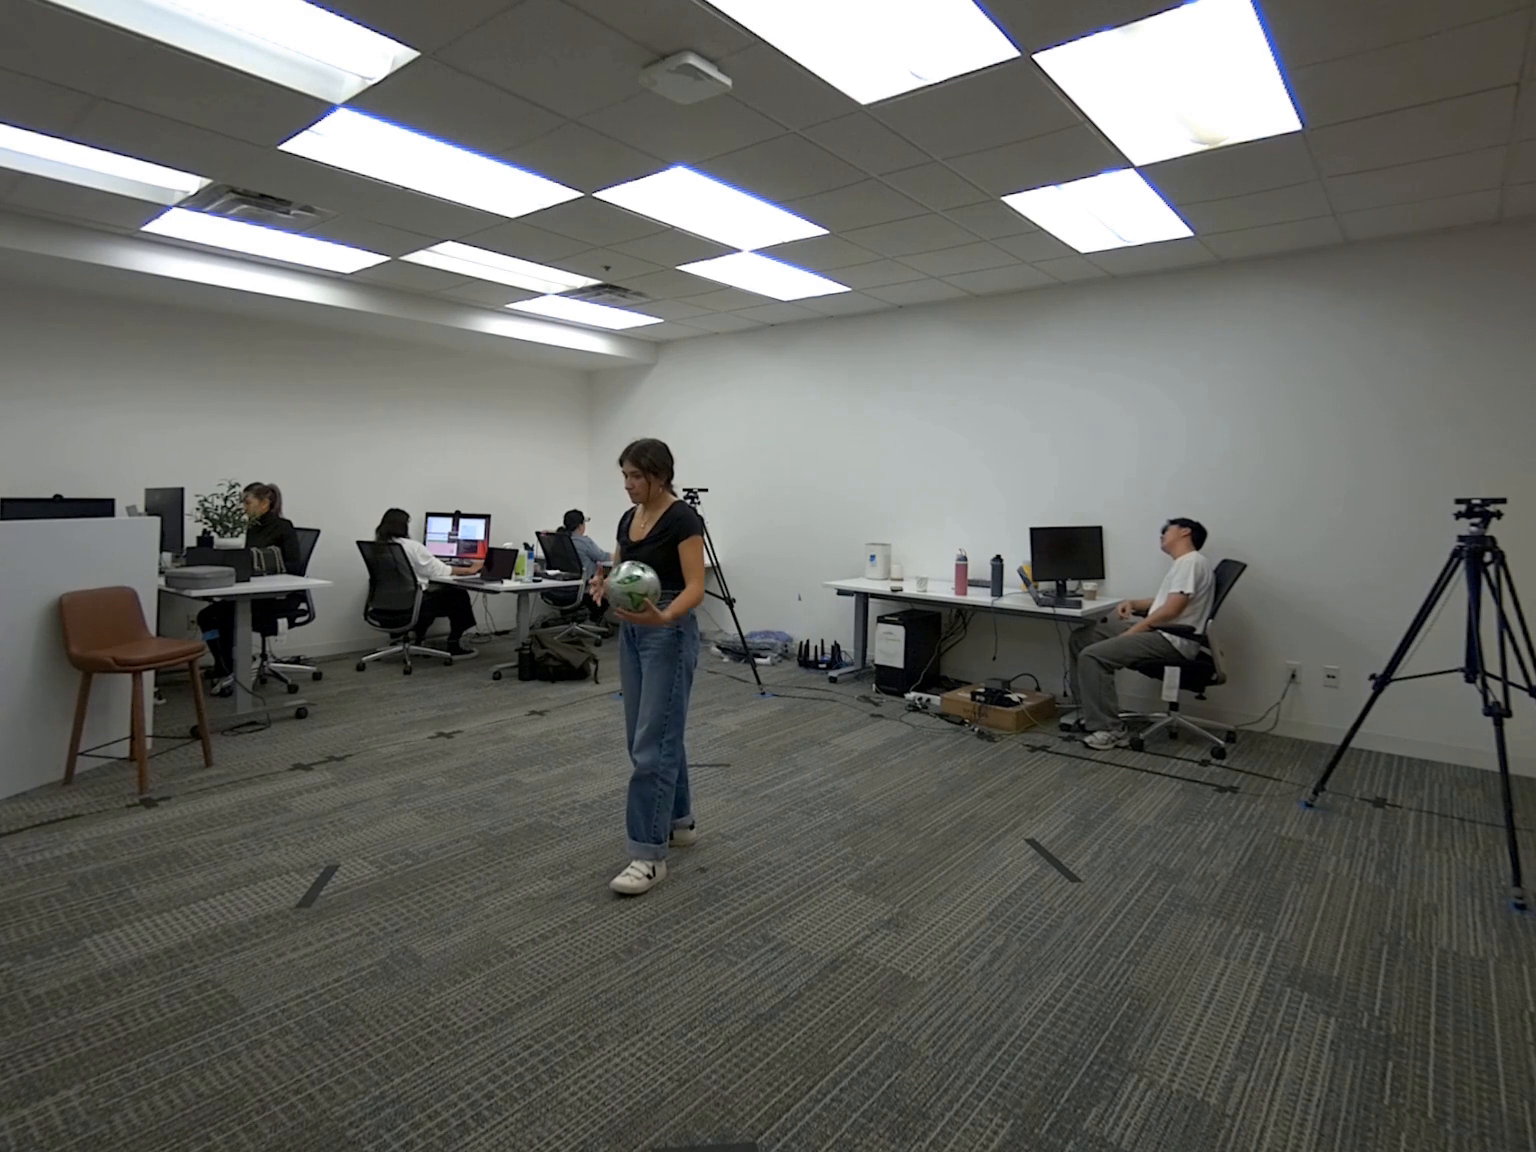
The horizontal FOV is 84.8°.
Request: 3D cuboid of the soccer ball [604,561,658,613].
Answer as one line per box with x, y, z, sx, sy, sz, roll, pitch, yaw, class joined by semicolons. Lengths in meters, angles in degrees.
-0.528;0.048;3.017;0.187;0.187;0.188;1;4;-2;soccer ball
